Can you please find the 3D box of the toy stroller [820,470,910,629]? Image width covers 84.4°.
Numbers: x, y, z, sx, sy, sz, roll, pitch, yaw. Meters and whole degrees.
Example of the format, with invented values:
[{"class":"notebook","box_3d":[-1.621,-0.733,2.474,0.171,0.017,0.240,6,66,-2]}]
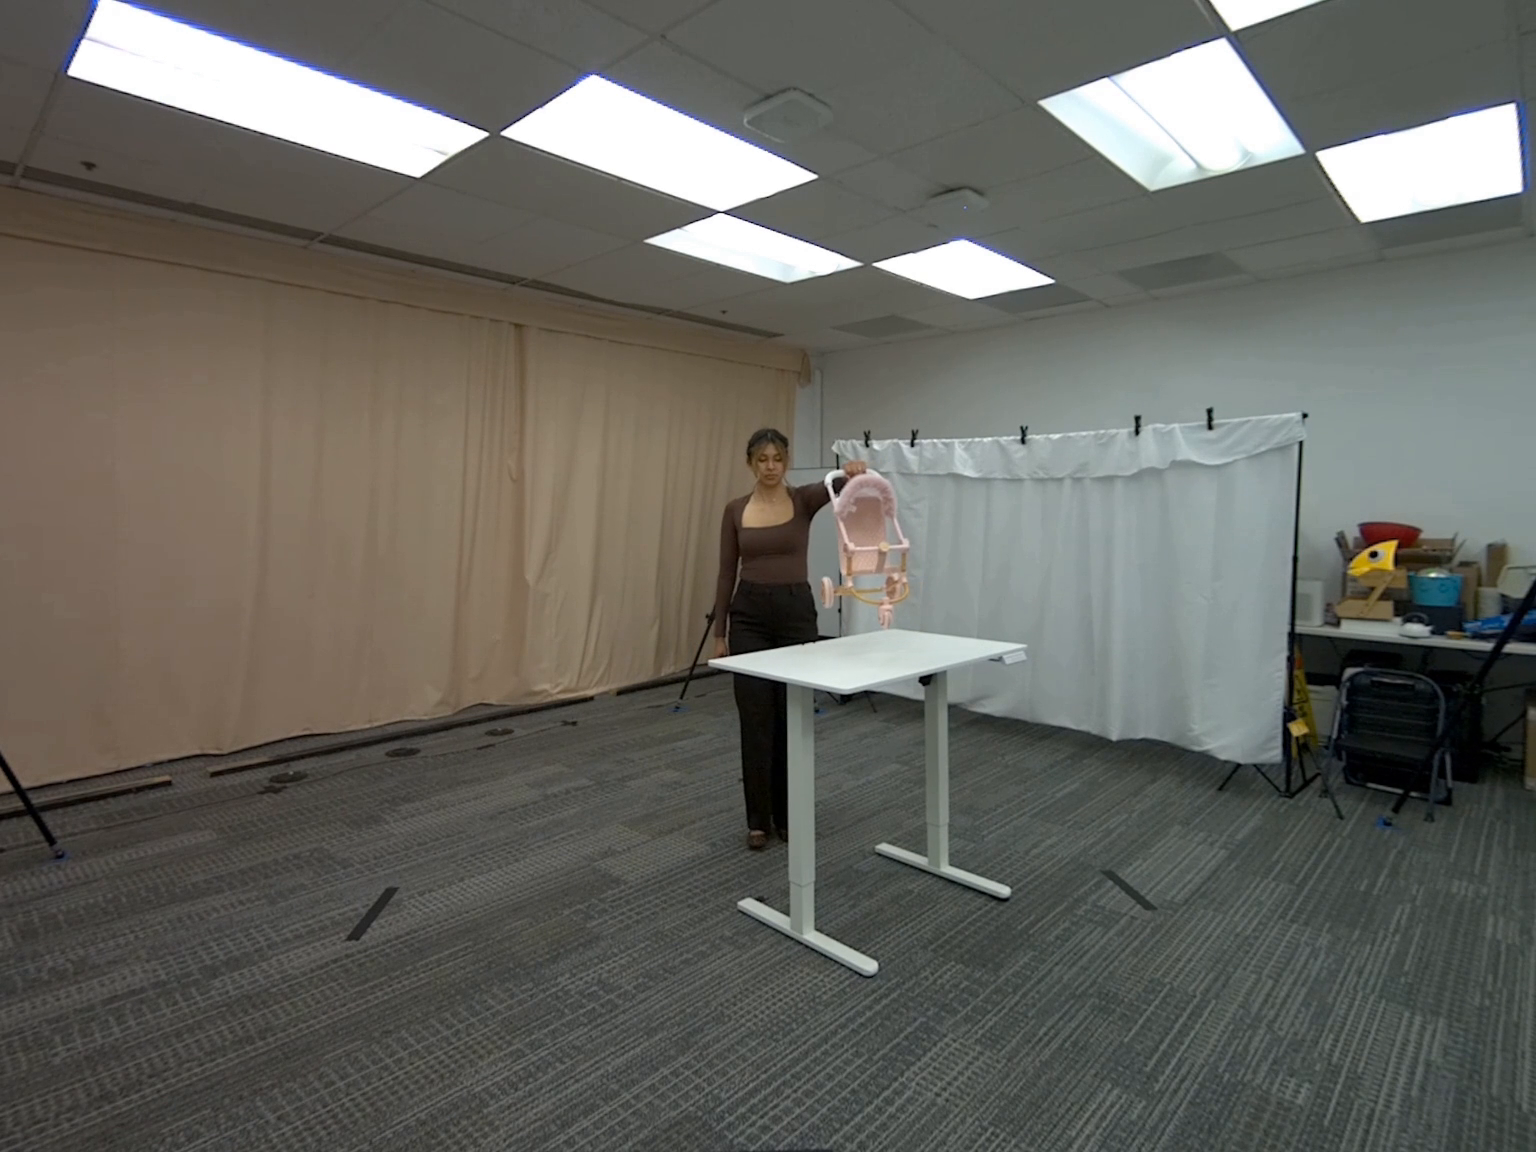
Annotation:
[{"class":"toy stroller","box_3d":[0.342,-0.101,2.821,0.279,0.534,0.344,-3,2,-7]}]
